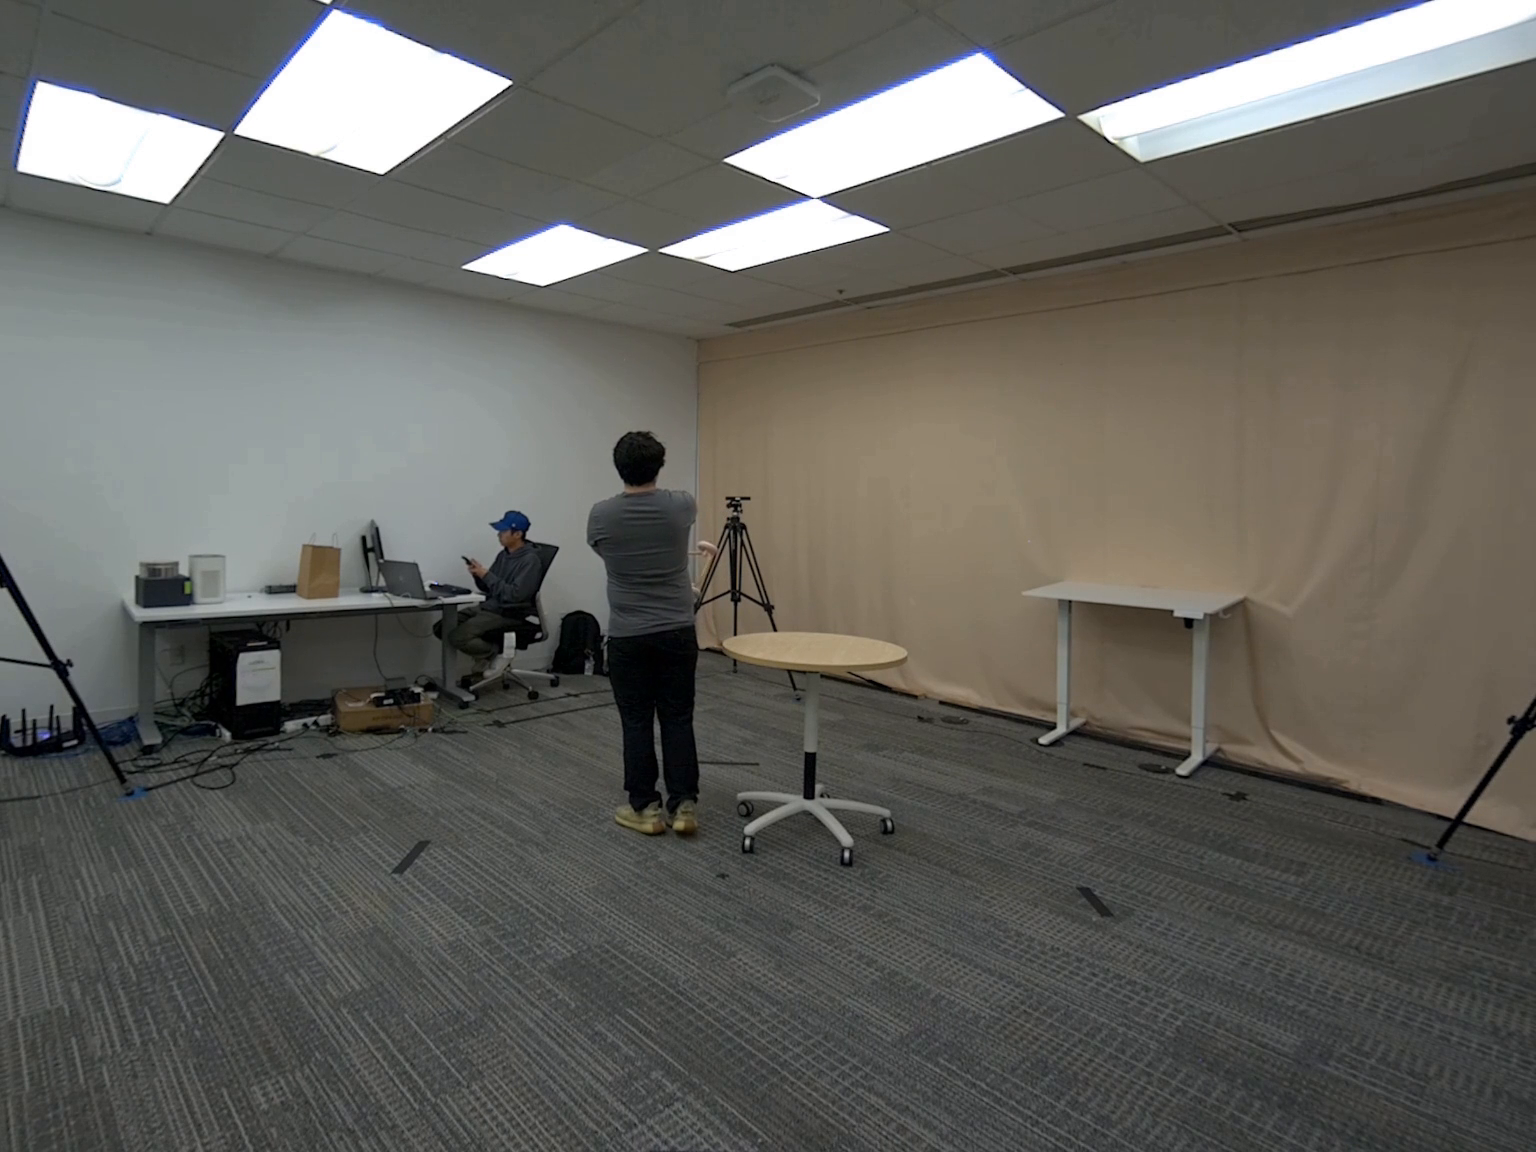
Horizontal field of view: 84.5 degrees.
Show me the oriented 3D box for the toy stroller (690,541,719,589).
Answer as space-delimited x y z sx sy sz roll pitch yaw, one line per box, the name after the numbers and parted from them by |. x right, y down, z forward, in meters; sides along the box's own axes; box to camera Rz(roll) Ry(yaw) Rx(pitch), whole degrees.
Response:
-0.527 -0.099 4.201 0.520 0.283 0.348 36 -22 -30 | toy stroller
